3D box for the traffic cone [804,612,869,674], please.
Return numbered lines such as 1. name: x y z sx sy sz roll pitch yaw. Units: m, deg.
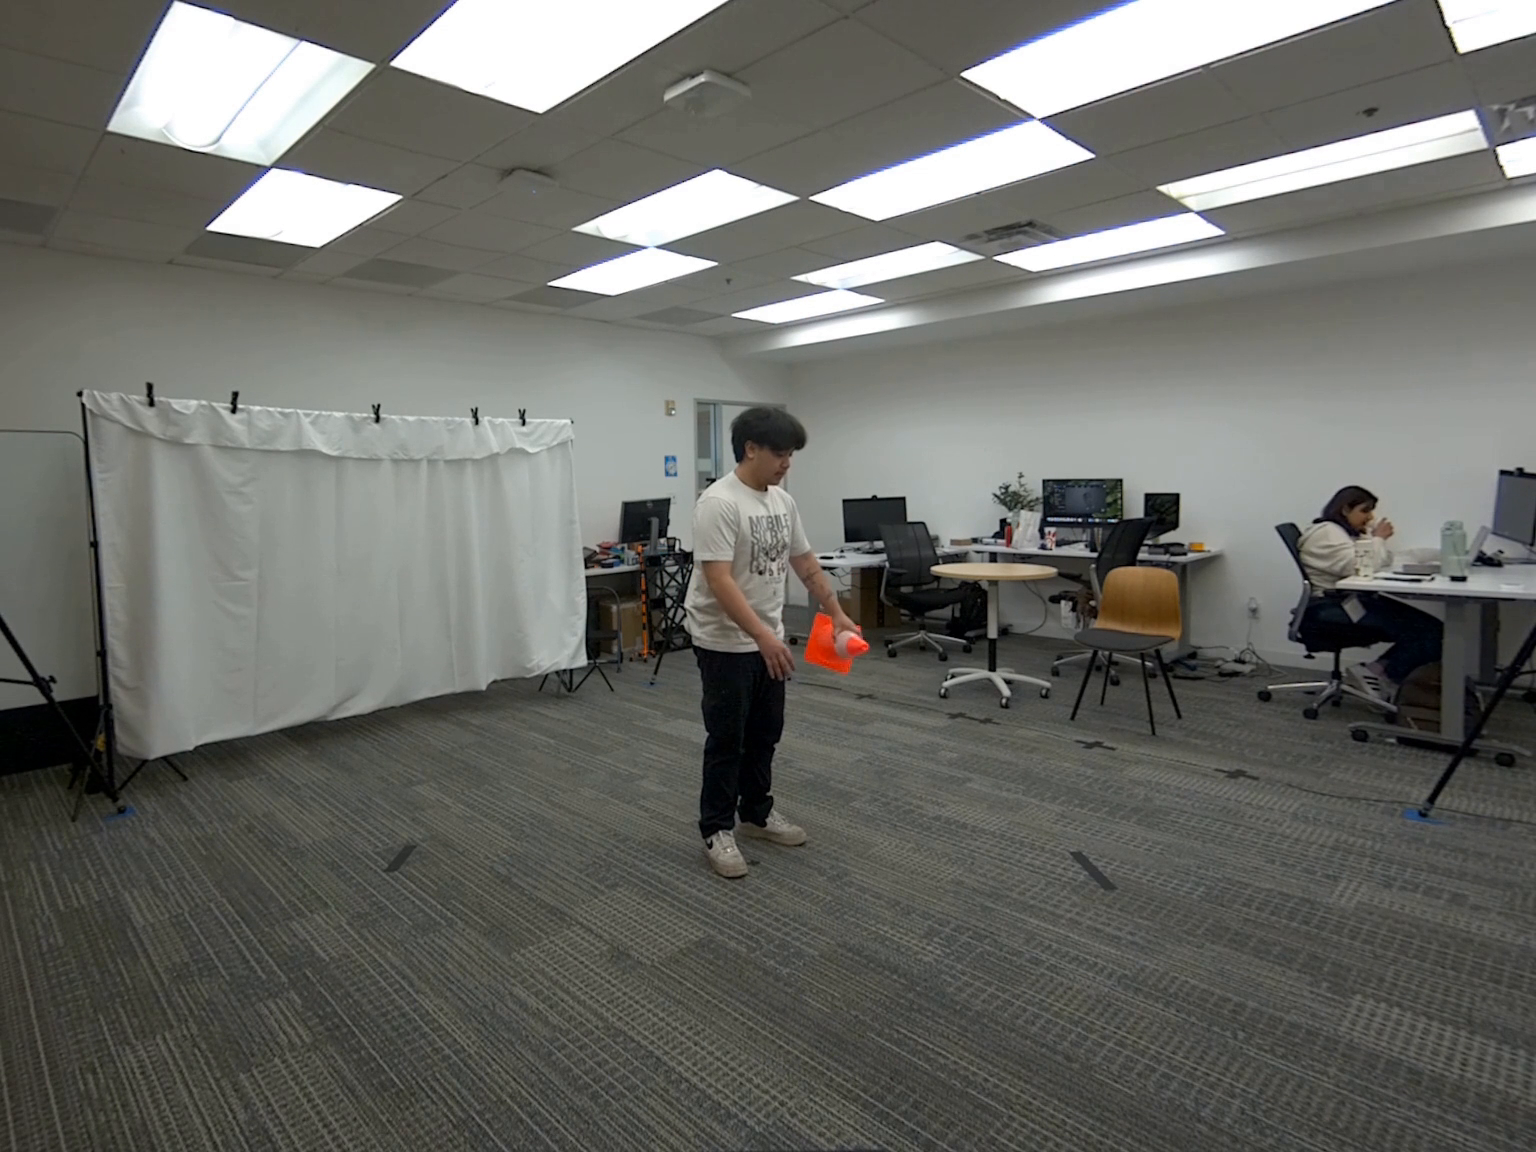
1. traffic cone: 0.296 0.267 3.235 0.201 0.205 0.387 17 -4 -11
